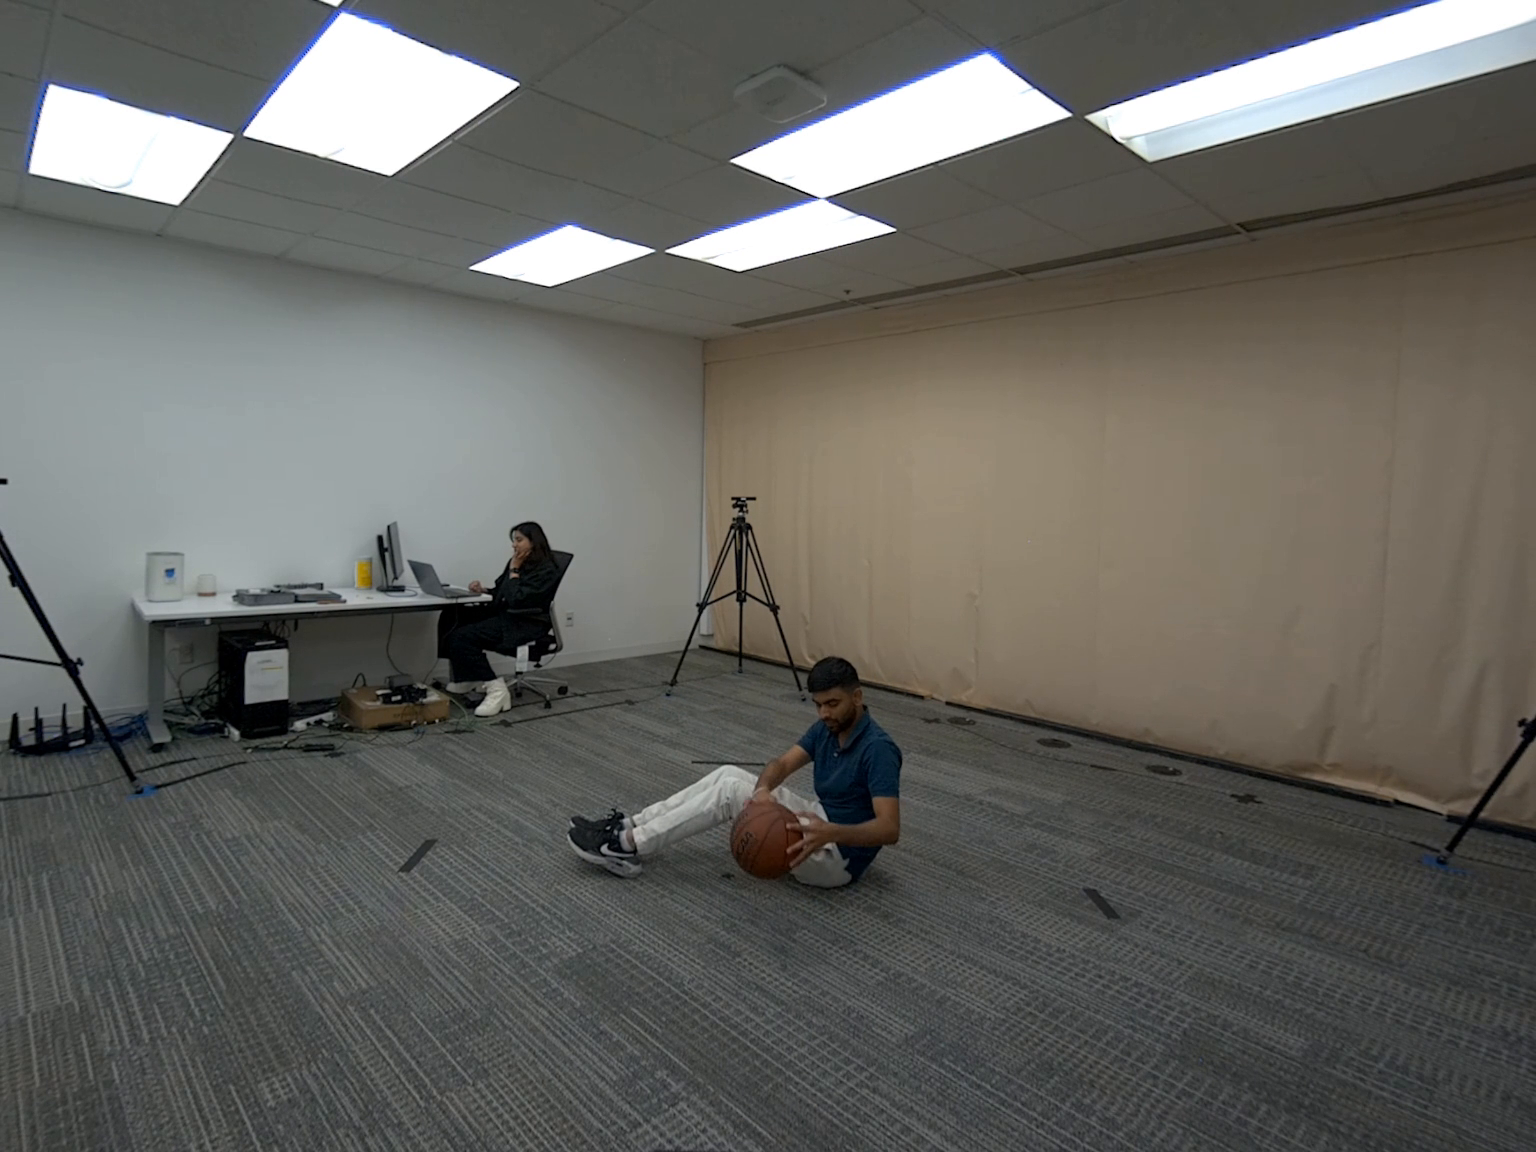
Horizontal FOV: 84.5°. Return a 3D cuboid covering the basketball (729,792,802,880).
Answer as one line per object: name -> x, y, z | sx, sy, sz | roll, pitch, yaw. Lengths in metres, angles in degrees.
basketball -> -0.015, 0.843, 2.698 | 0.236, 0.235, 0.237 | 1, 4, -1
